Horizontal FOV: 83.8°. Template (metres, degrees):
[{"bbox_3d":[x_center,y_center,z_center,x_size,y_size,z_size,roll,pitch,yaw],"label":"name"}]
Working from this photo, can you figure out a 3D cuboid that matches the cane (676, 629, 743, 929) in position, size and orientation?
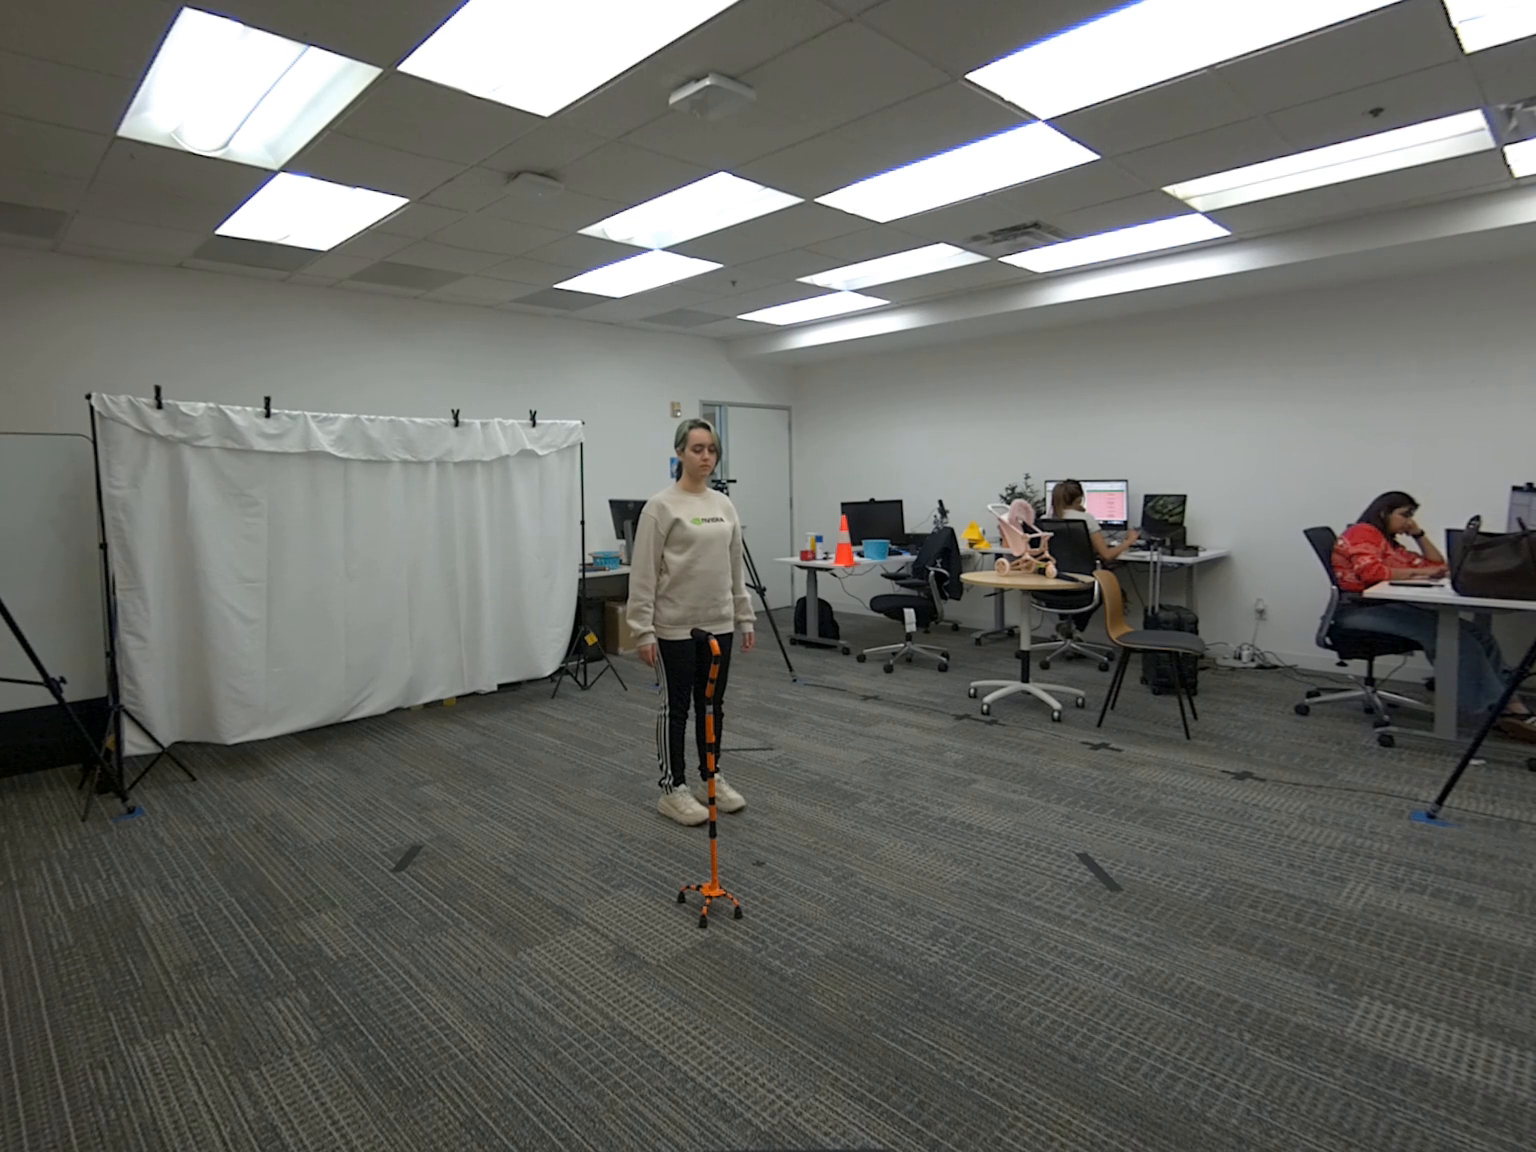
[{"bbox_3d":[-0.196,0.639,2.756,0.148,0.905,0.211,-3,4,-25],"label":"cane"}]
